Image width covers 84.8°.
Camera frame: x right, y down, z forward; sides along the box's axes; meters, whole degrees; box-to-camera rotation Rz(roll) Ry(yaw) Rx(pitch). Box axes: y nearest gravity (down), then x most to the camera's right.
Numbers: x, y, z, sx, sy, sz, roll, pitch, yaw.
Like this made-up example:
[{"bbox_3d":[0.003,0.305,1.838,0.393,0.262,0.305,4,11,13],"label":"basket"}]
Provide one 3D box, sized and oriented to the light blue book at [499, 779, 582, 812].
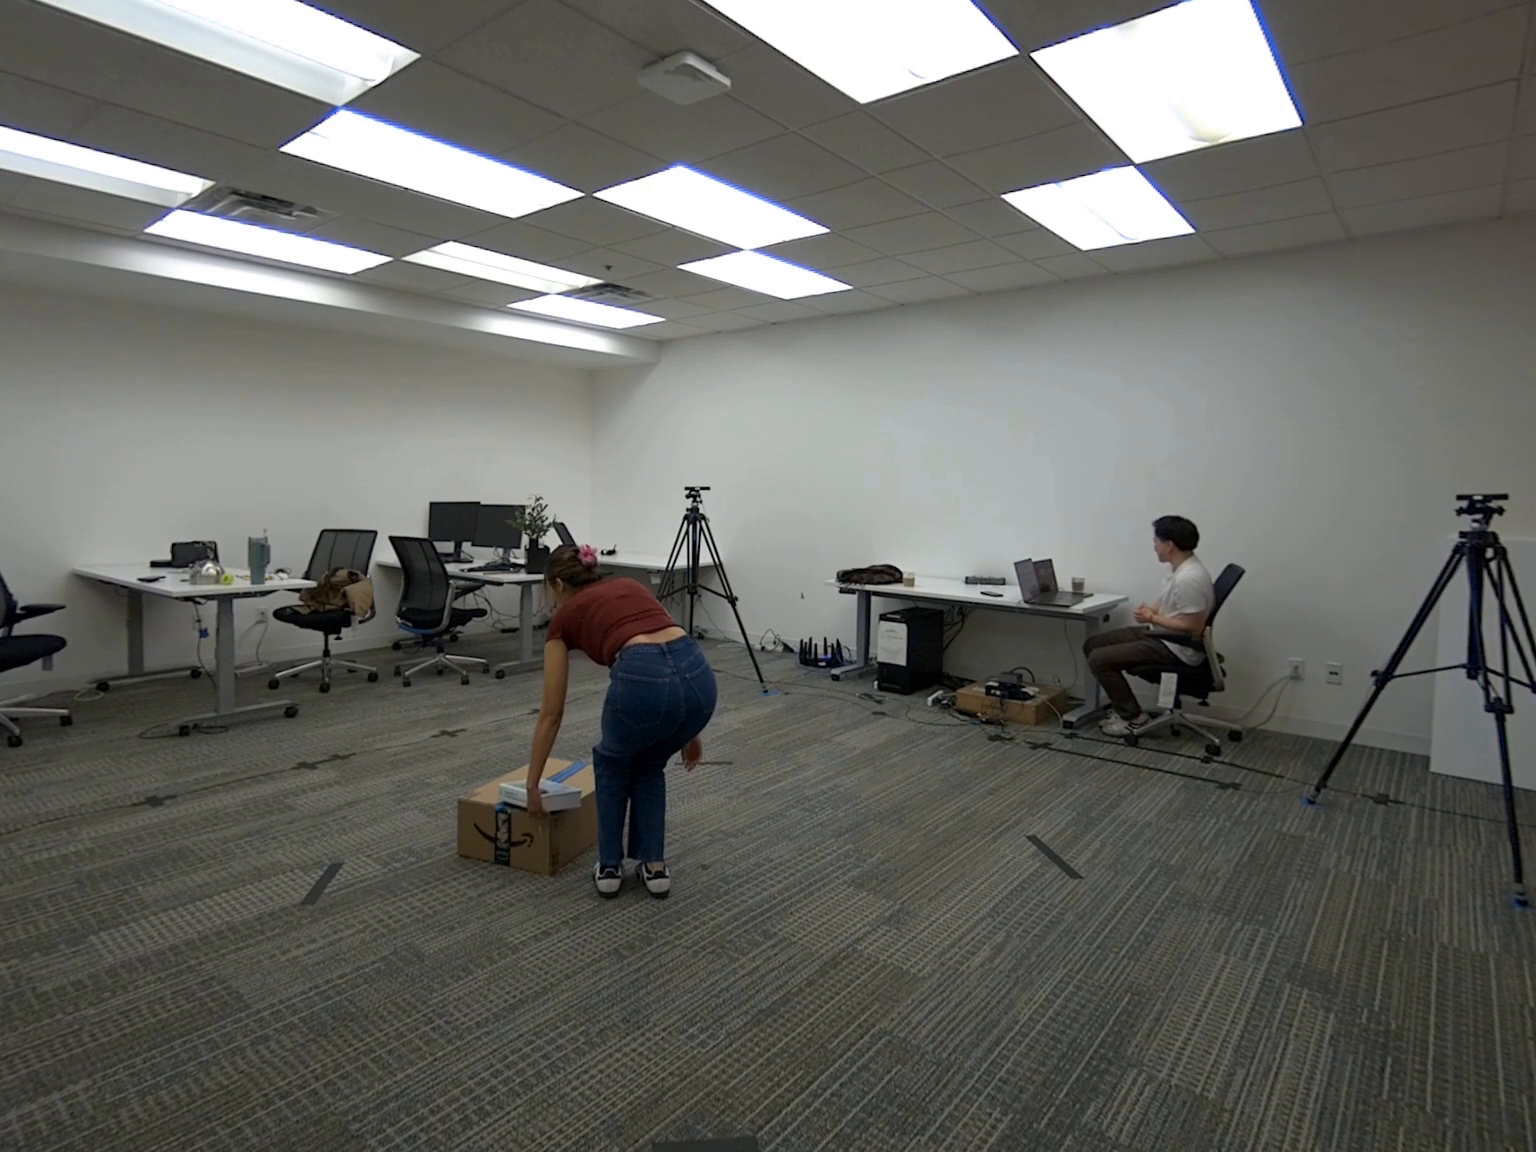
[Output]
[{"bbox_3d":[-0.854,0.803,3.133,0.269,0.059,0.185,1,-3,39],"label":"light blue book"}]
